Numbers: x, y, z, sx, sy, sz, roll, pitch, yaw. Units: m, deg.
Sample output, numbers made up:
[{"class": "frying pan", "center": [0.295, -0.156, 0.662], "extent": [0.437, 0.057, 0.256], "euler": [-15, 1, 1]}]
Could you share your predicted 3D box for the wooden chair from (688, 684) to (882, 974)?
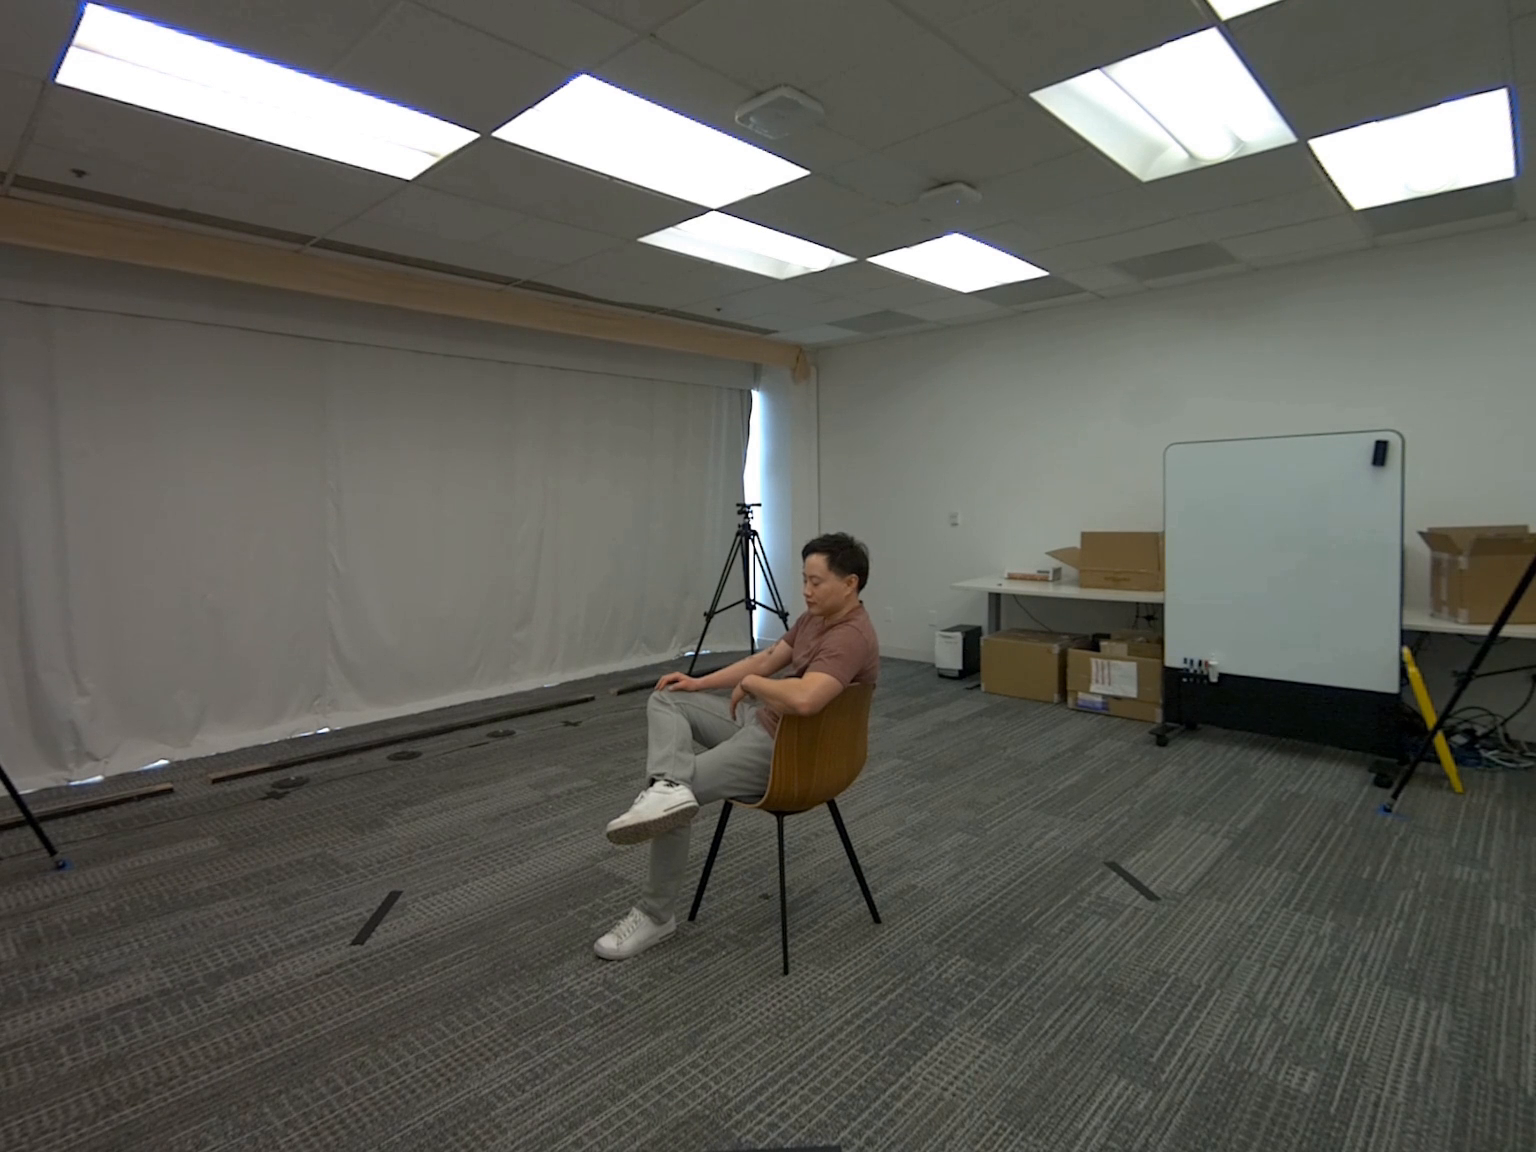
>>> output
[{"class": "wooden chair", "center": [0.047, 0.726, 2.778], "extent": [0.463, 0.874, 0.541], "euler": [-4, 9, -43]}]
